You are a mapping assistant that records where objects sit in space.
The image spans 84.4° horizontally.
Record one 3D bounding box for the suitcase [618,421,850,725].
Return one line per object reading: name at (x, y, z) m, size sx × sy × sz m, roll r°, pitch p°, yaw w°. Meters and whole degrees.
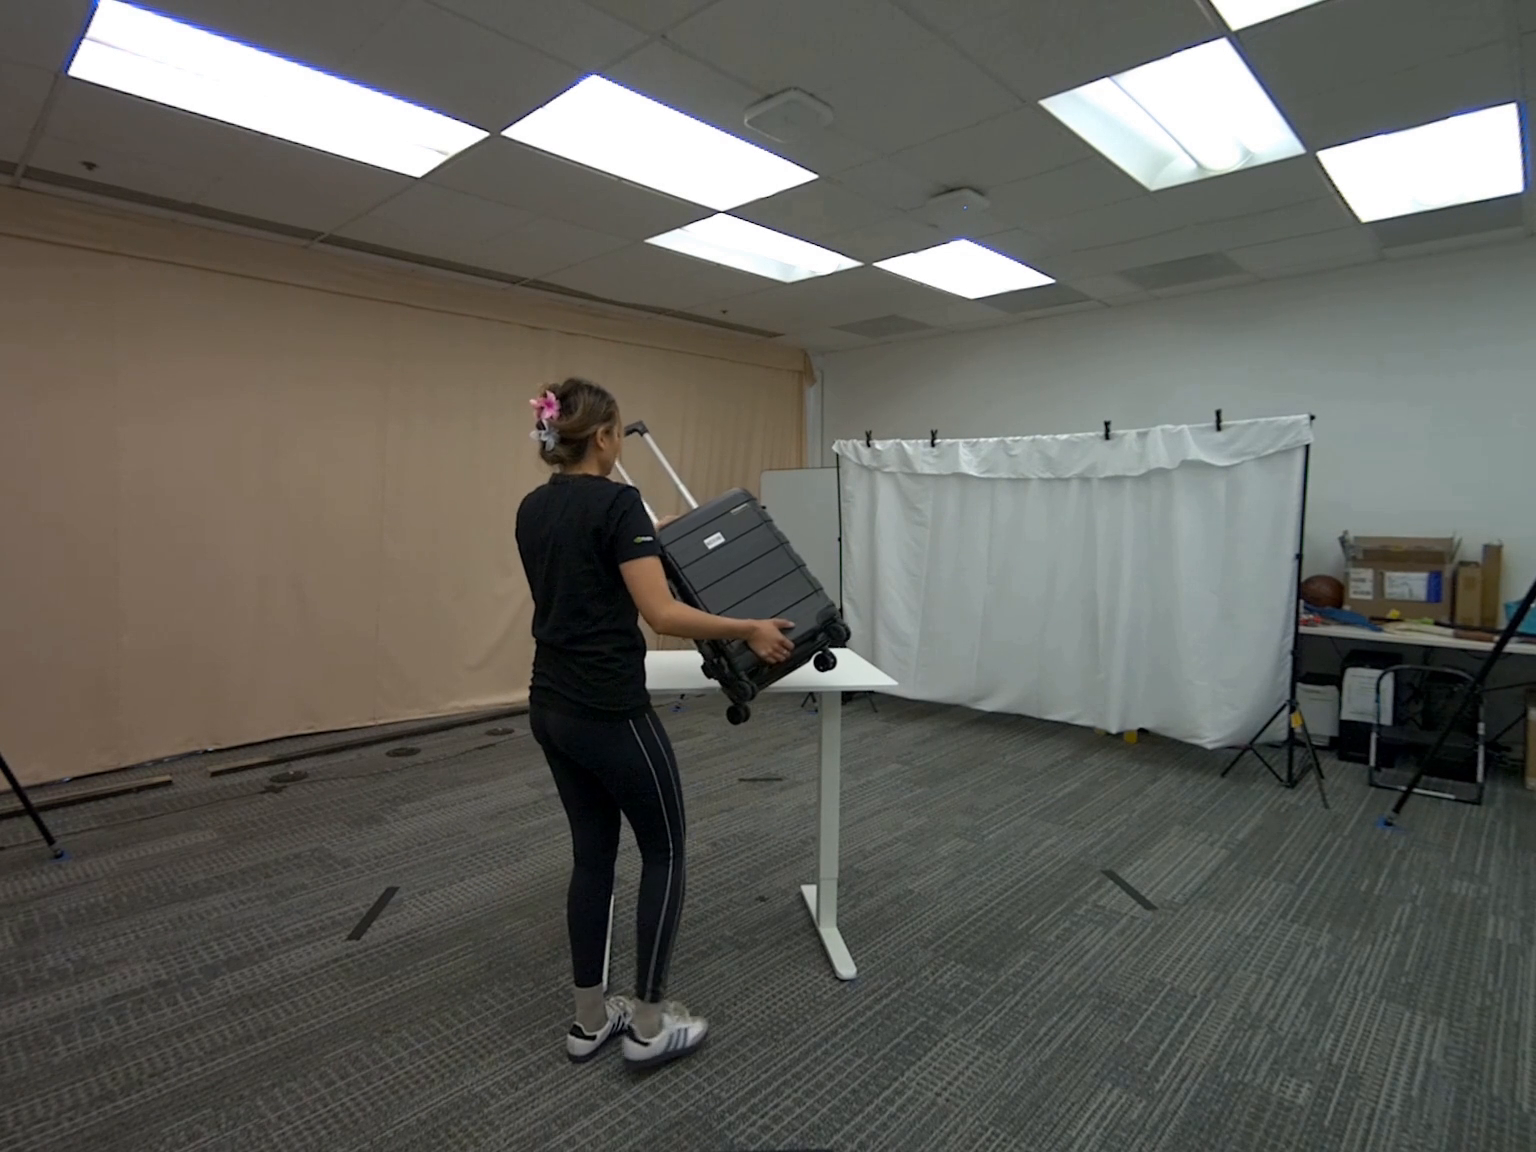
suitcase at (-0.180, -0.109, 2.393) m, size 0.380 × 0.999 × 0.254 m, roll -28°, pitch -20°, yaw -16°
